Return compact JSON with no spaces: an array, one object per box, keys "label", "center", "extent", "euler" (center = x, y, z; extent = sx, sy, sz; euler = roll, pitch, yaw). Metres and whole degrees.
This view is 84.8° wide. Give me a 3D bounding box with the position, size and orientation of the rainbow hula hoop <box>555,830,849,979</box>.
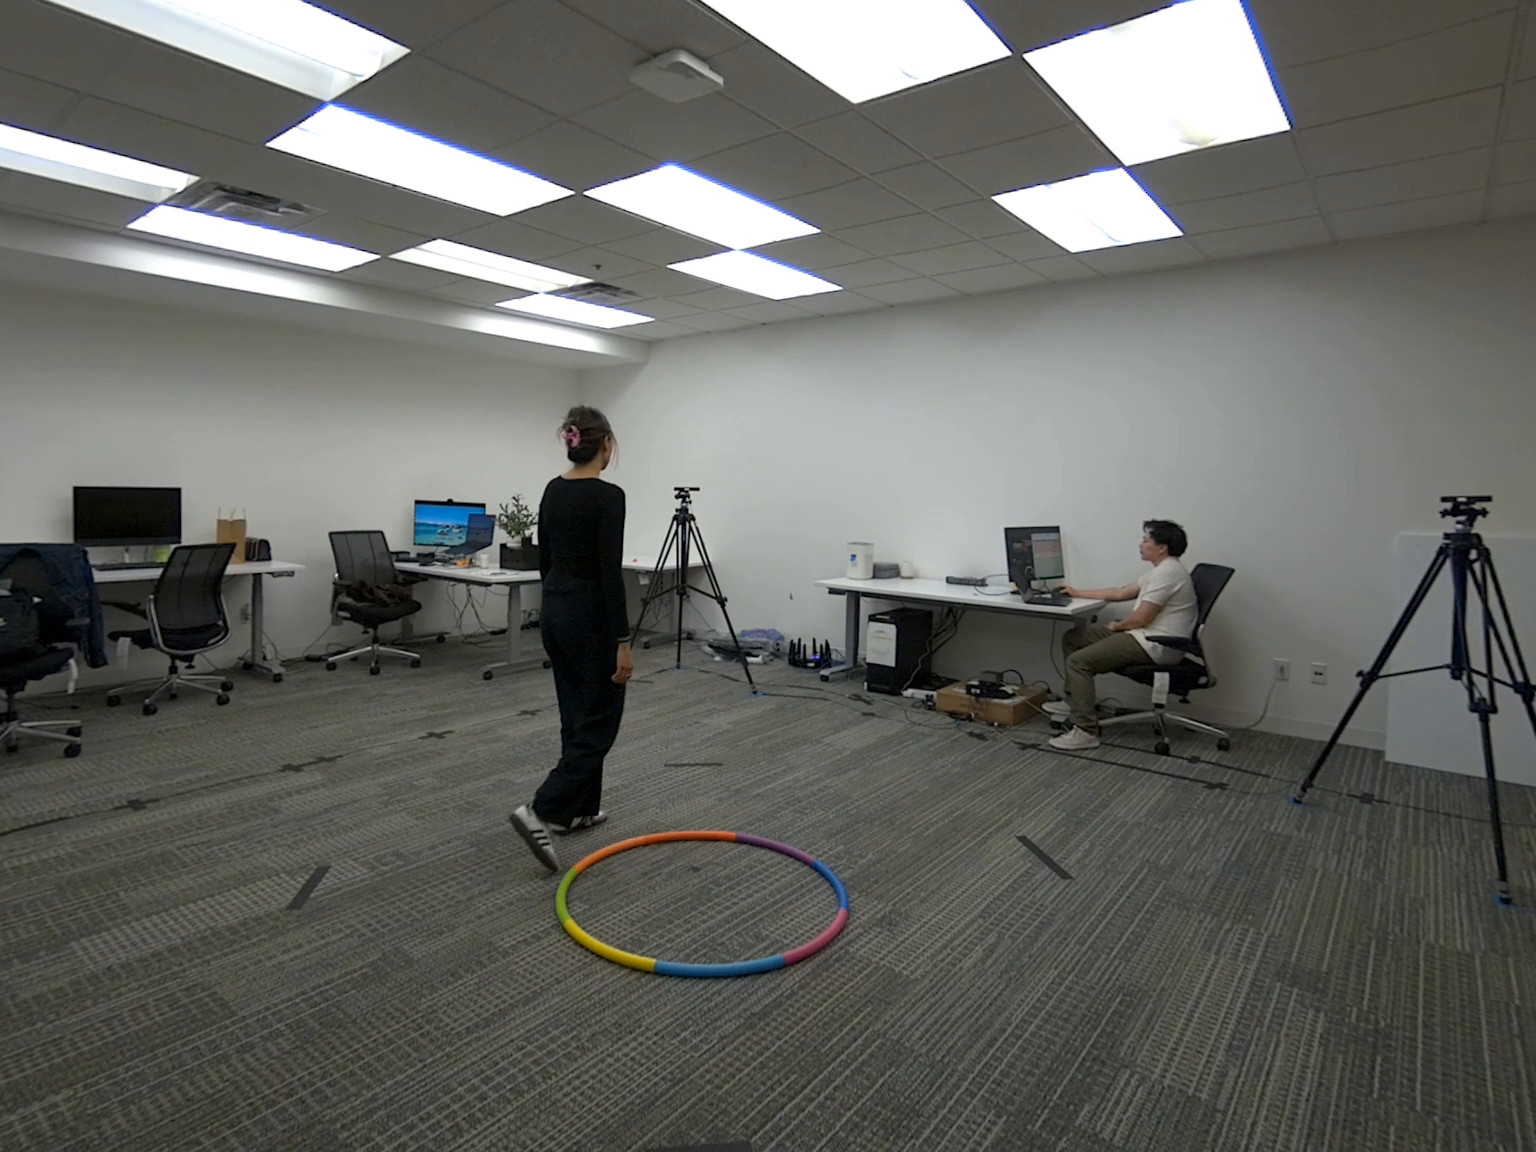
[{"label":"rainbow hula hoop","center":[-0.232,1.058,2.892],"extent":[0.978,0.035,0.984],"euler":[1,6,-2]}]
